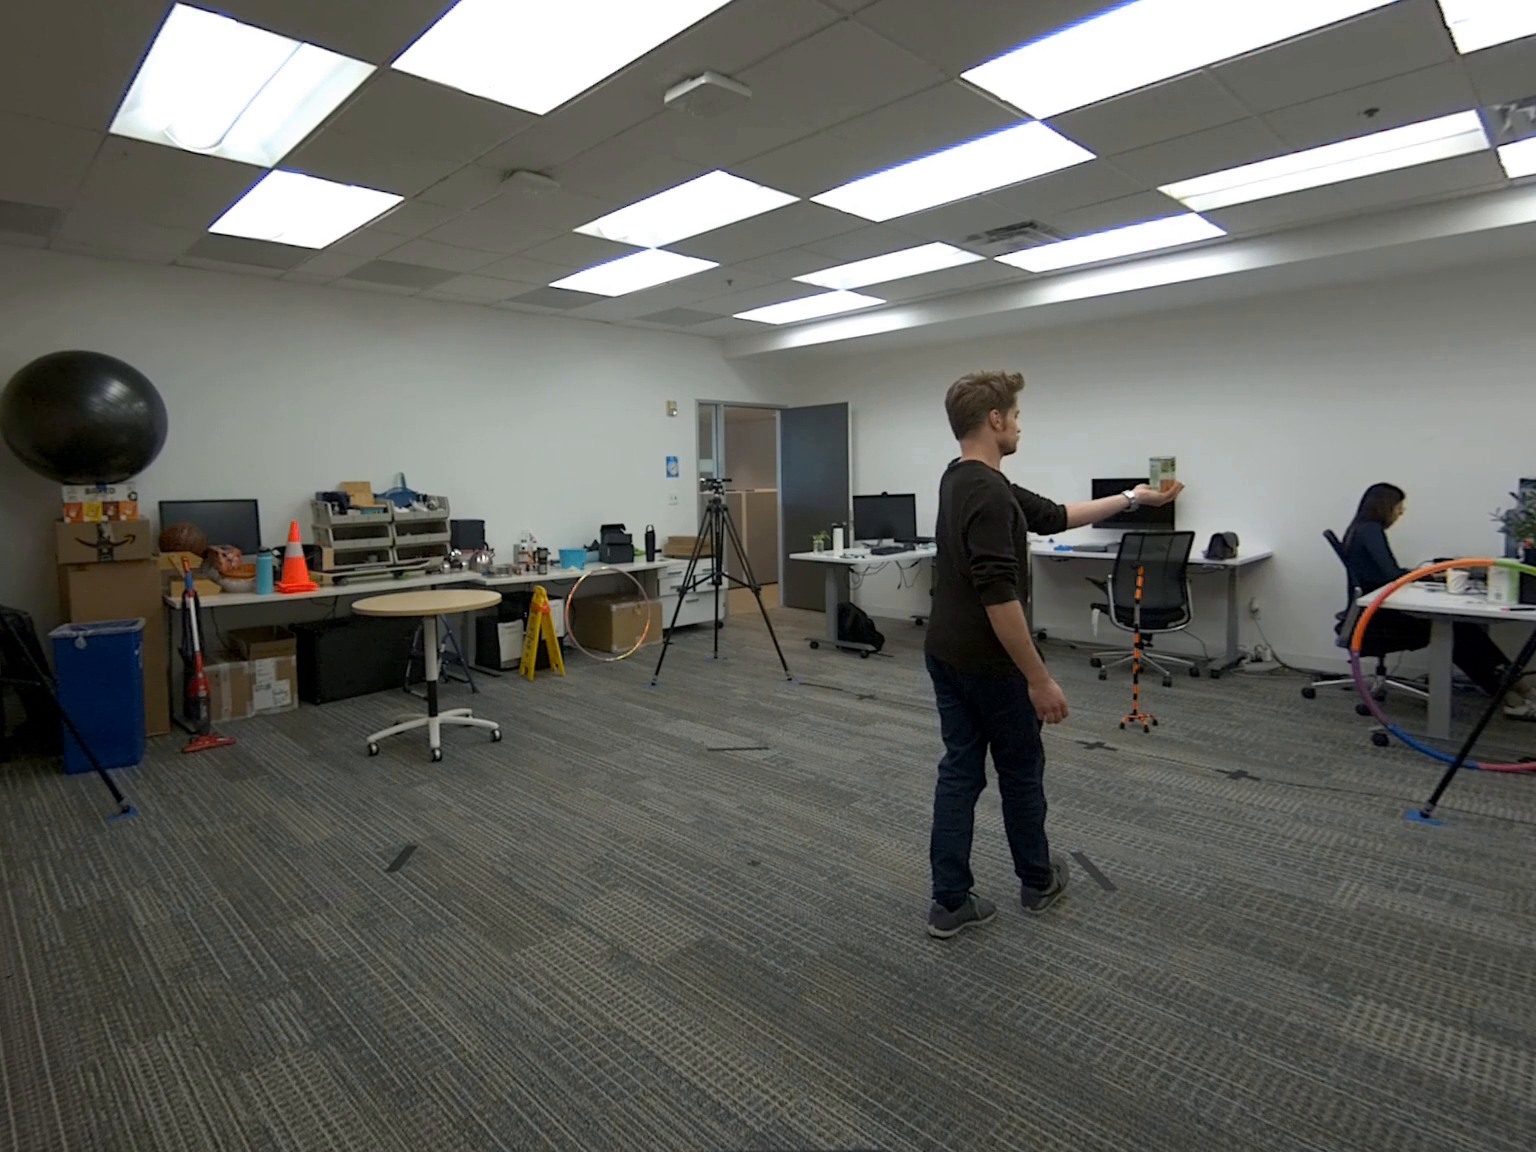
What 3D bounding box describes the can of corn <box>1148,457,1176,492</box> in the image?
[{"bbox_3d":[1.252,-0.320,2.741,0.074,0.110,0.075,-4,7,-1],"label":"can of corn"}]
